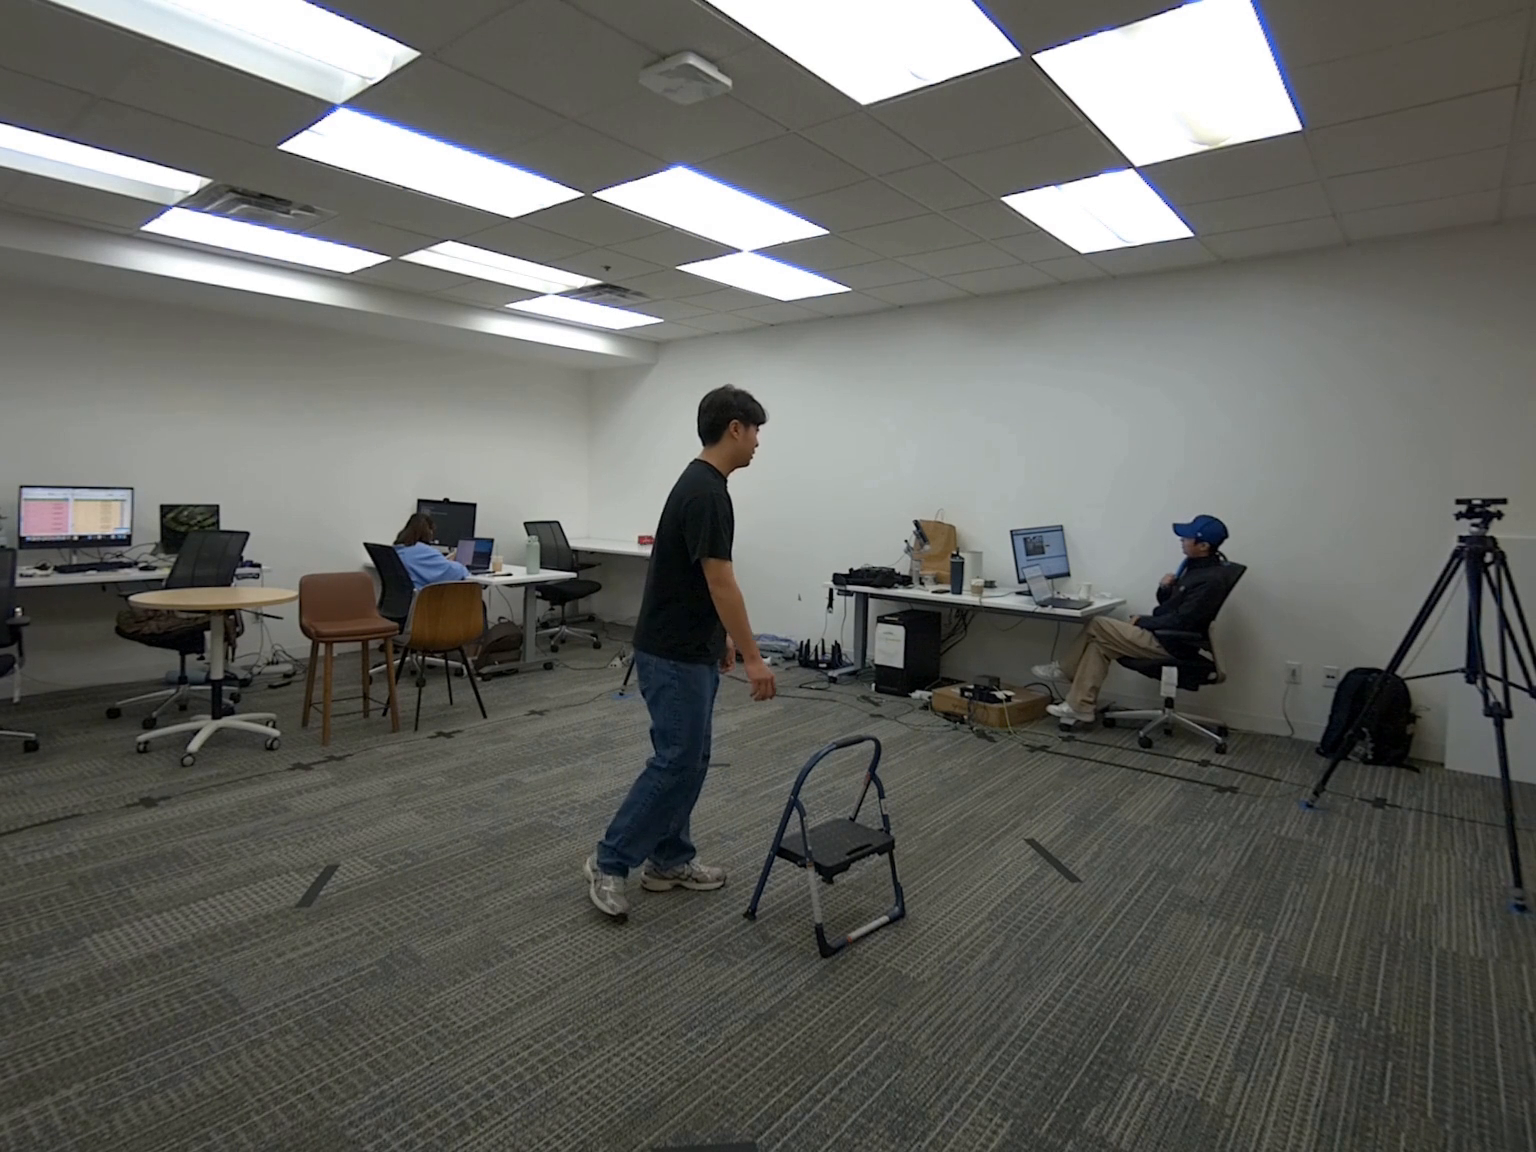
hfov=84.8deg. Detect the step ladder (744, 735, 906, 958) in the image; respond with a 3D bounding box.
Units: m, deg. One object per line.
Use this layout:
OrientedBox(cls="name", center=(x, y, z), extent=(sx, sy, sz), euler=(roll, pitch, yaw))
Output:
OrientedBox(cls="step ladder", center=(0.191, 0.808, 2.771), extent=(0.361, 0.604, 0.417), euler=(5, 5, 45))
